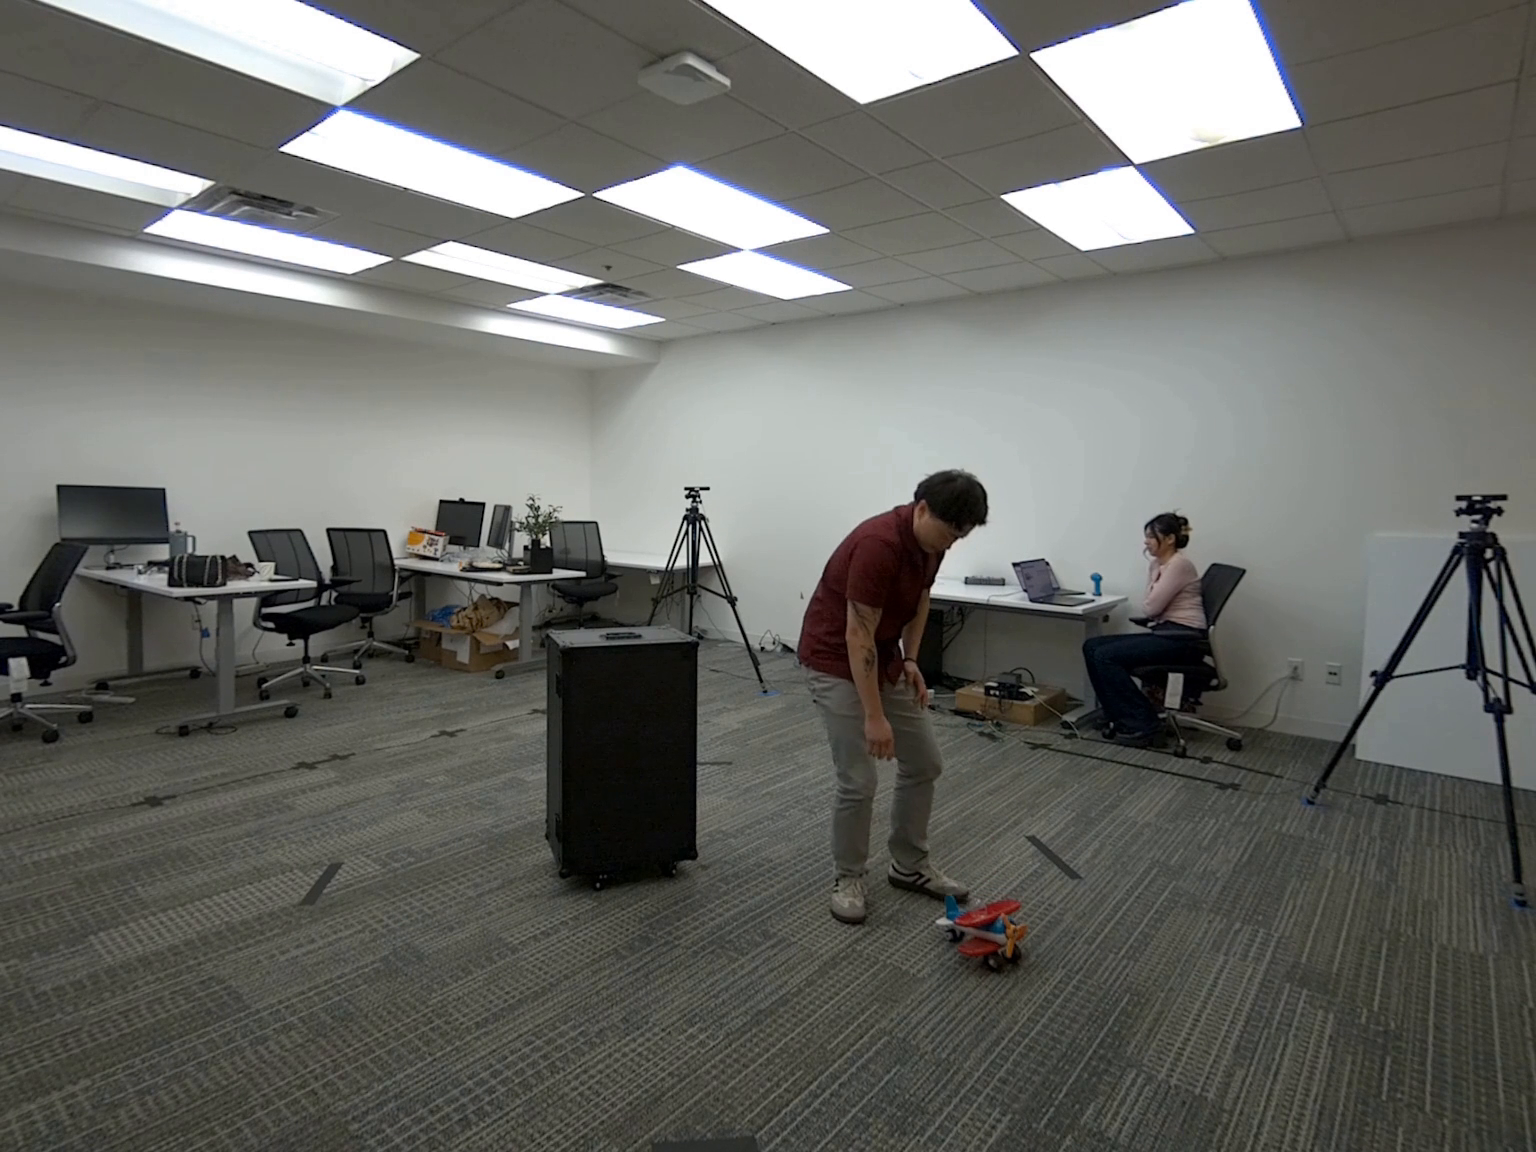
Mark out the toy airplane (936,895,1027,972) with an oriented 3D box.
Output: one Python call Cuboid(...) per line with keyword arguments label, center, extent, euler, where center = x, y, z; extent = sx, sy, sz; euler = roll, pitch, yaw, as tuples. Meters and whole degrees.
Cuboid(label="toy airplane", center=(0.624, 1.066, 2.560), extent=(0.266, 0.156, 0.245), euler=(4, 6, 26))
